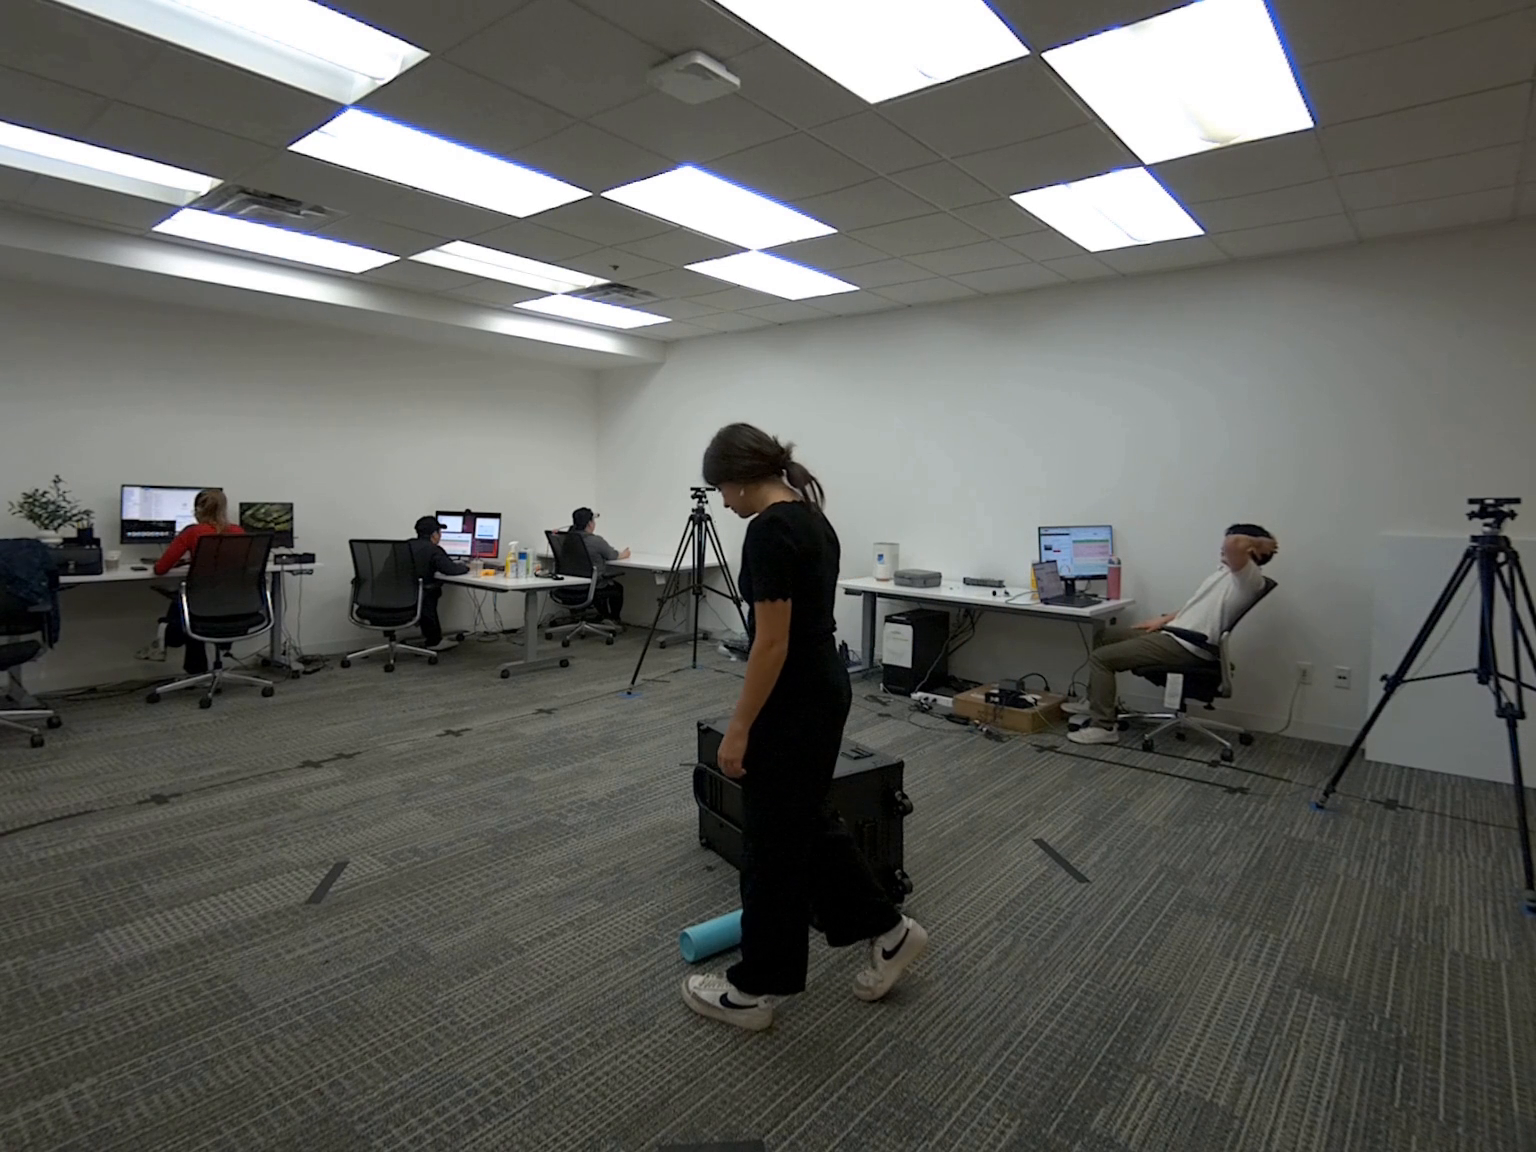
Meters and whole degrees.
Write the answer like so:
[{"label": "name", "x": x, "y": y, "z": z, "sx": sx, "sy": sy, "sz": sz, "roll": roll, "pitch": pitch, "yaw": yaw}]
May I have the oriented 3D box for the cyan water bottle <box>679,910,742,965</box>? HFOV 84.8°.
[{"label": "cyan water bottle", "x": -0.139, "y": 1.069, "z": 2.572, "sx": 0.275, "sy": 0.092, "sz": 0.095, "roll": -4, "pitch": 6, "yaw": -37}]
